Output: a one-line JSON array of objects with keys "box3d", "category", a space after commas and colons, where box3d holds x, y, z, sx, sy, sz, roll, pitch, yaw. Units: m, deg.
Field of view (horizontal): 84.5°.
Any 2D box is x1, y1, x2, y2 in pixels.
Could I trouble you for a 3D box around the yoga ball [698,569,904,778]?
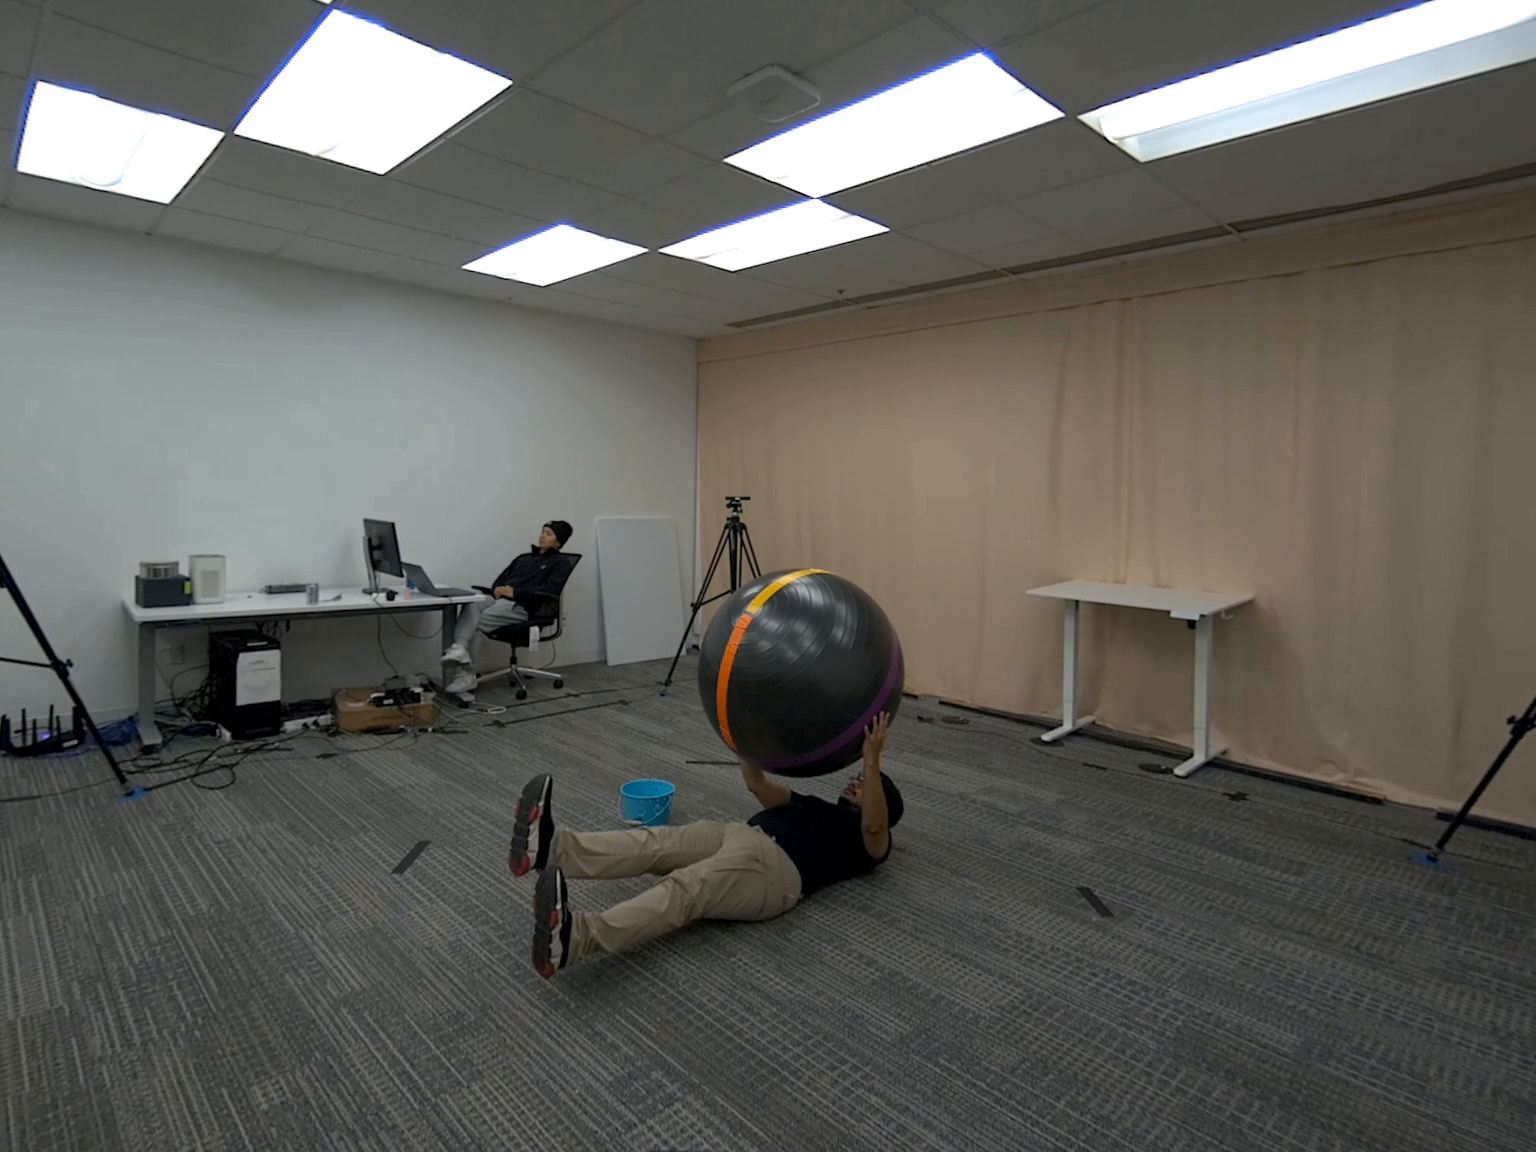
[{"box3d": [0.114, 0.359, 3.099, 0.757, 0.755, 0.761, 1, 5, -1], "category": "yoga ball"}]
